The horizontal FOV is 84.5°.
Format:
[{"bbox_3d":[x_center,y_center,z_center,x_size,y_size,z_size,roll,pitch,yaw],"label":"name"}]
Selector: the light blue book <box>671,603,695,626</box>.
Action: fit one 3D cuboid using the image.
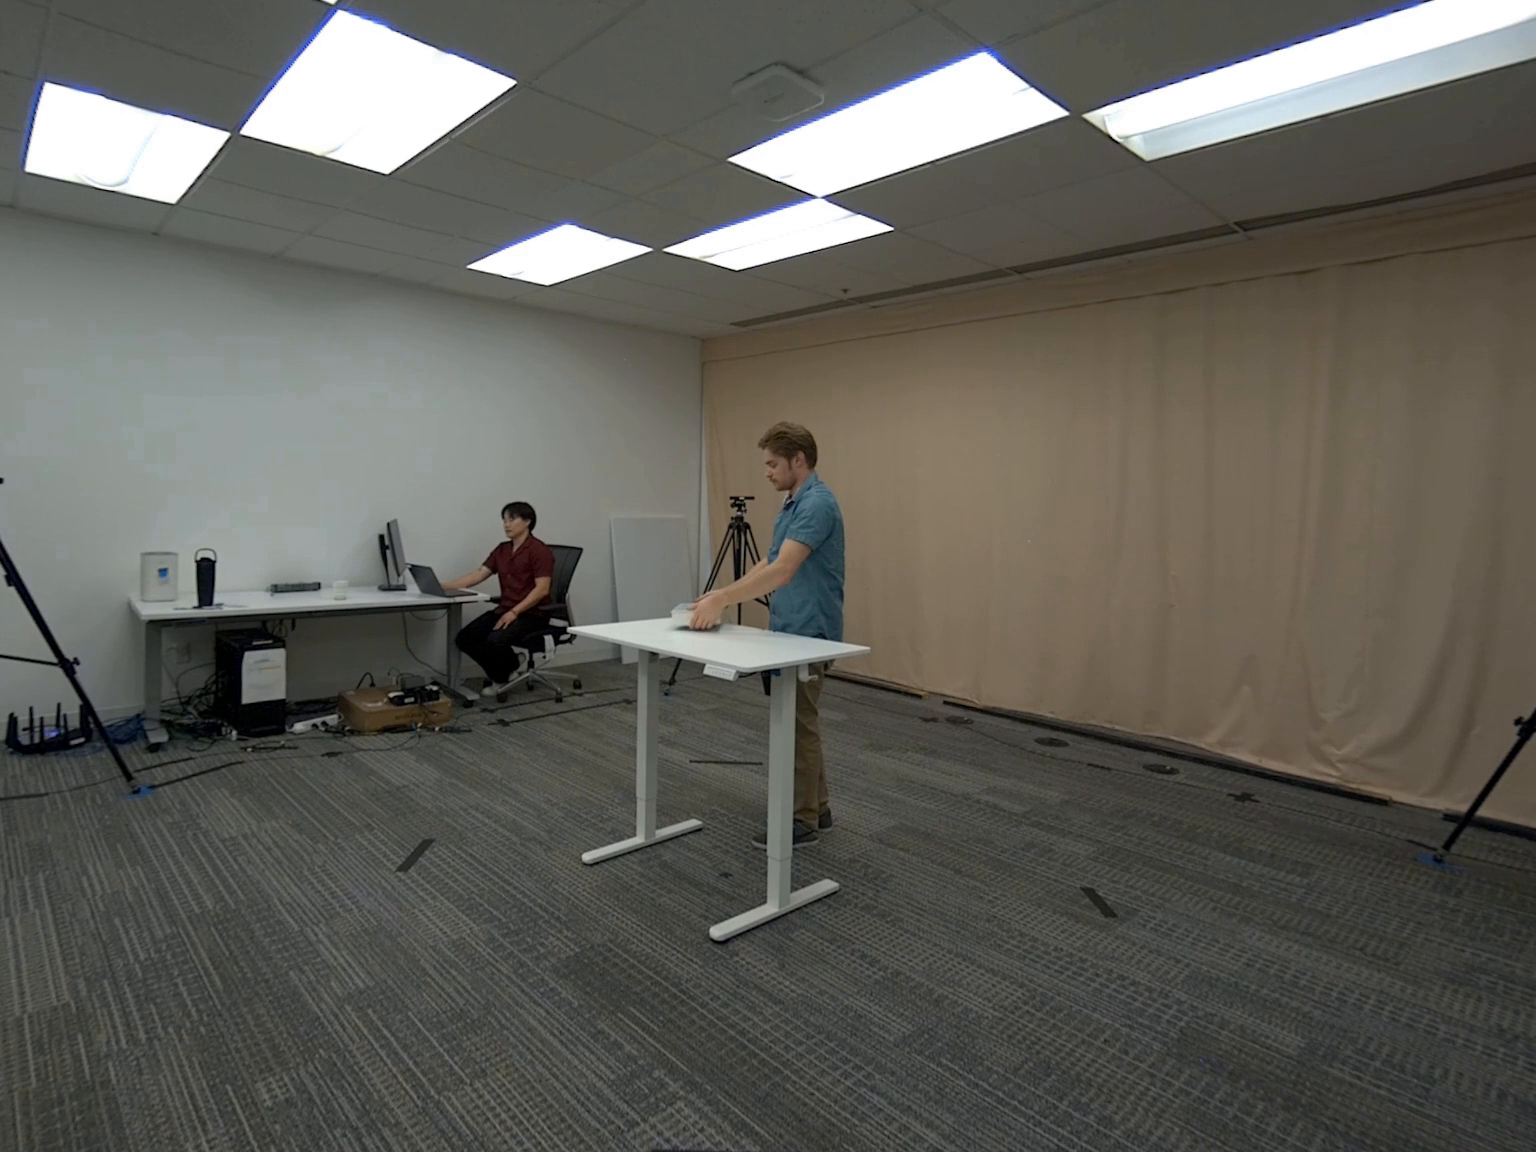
[{"bbox_3d":[-0.277,0.150,3.331,0.192,0.059,0.261,-2,5,2],"label":"light blue book"}]
